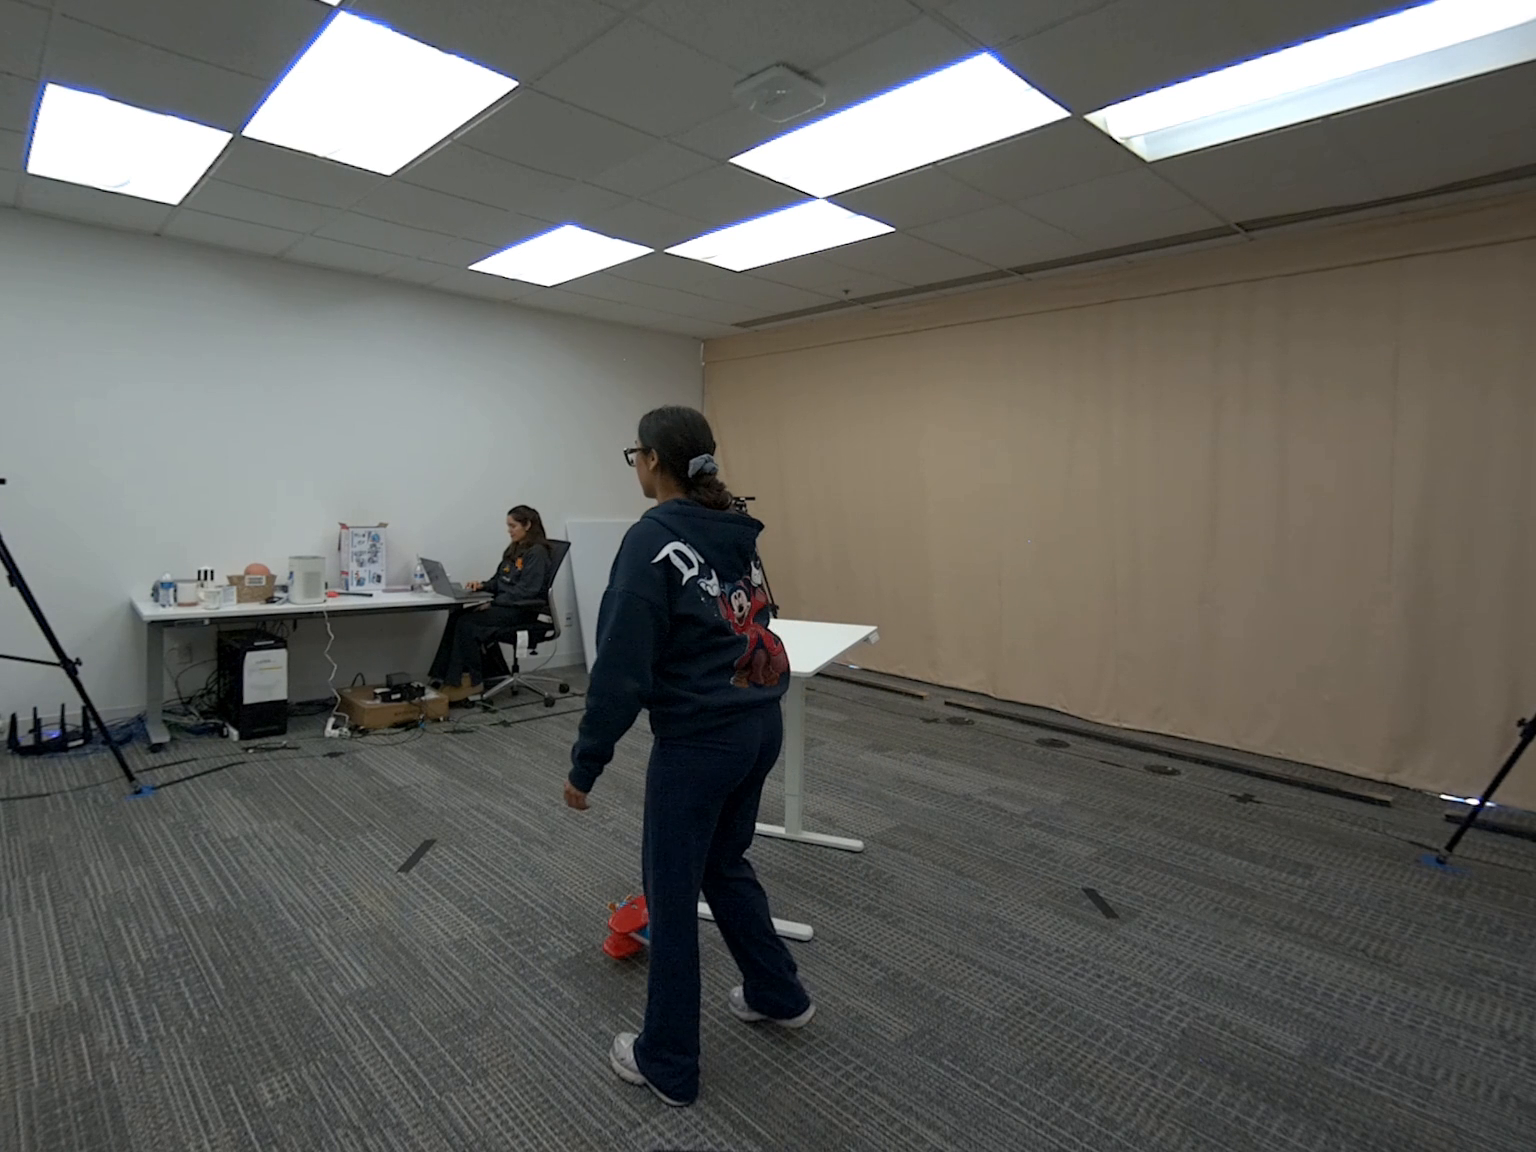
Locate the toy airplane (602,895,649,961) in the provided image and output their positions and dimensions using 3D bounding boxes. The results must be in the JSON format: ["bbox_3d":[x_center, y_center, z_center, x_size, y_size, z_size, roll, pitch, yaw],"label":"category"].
[{"bbox_3d":[-0.359,1.082,2.556,0.260,0.156,0.251,0,5,2],"label":"toy airplane"}]
